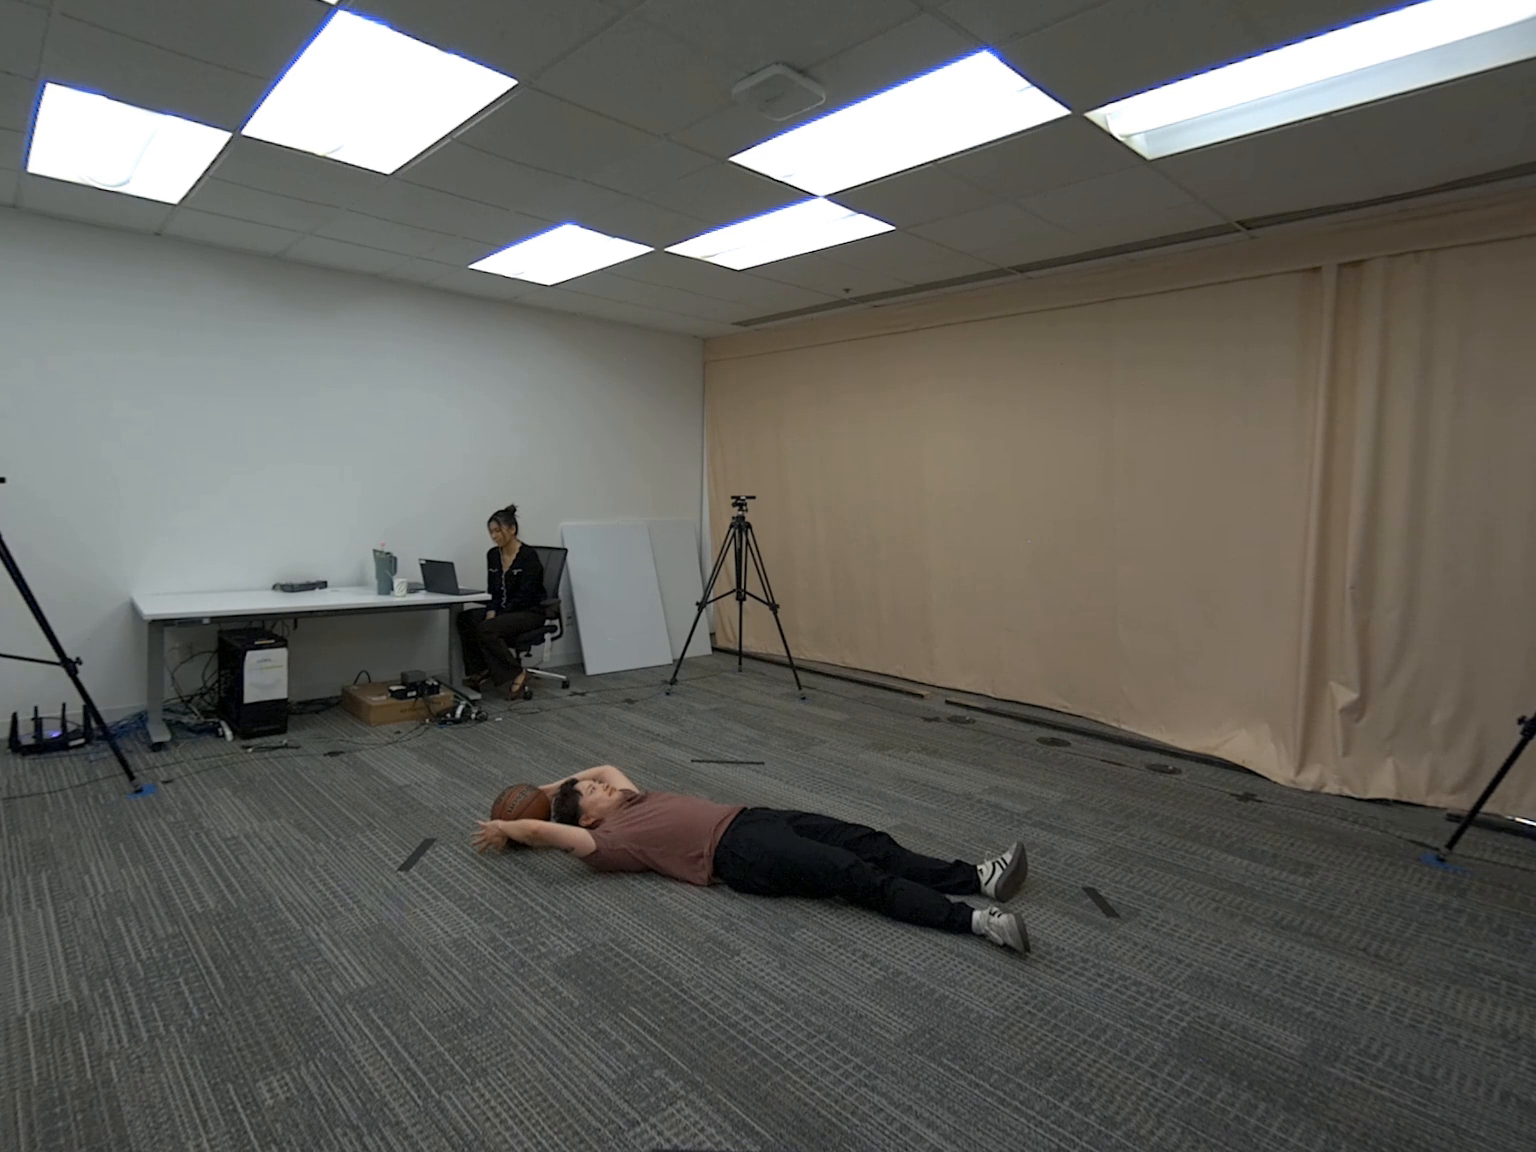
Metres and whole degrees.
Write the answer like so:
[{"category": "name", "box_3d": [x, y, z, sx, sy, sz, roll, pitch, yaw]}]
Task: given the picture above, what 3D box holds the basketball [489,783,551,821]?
[{"category": "basketball", "box_3d": [-0.985, 0.943, 3.332, 0.236, 0.234, 0.237, 0, 8, -1]}]
